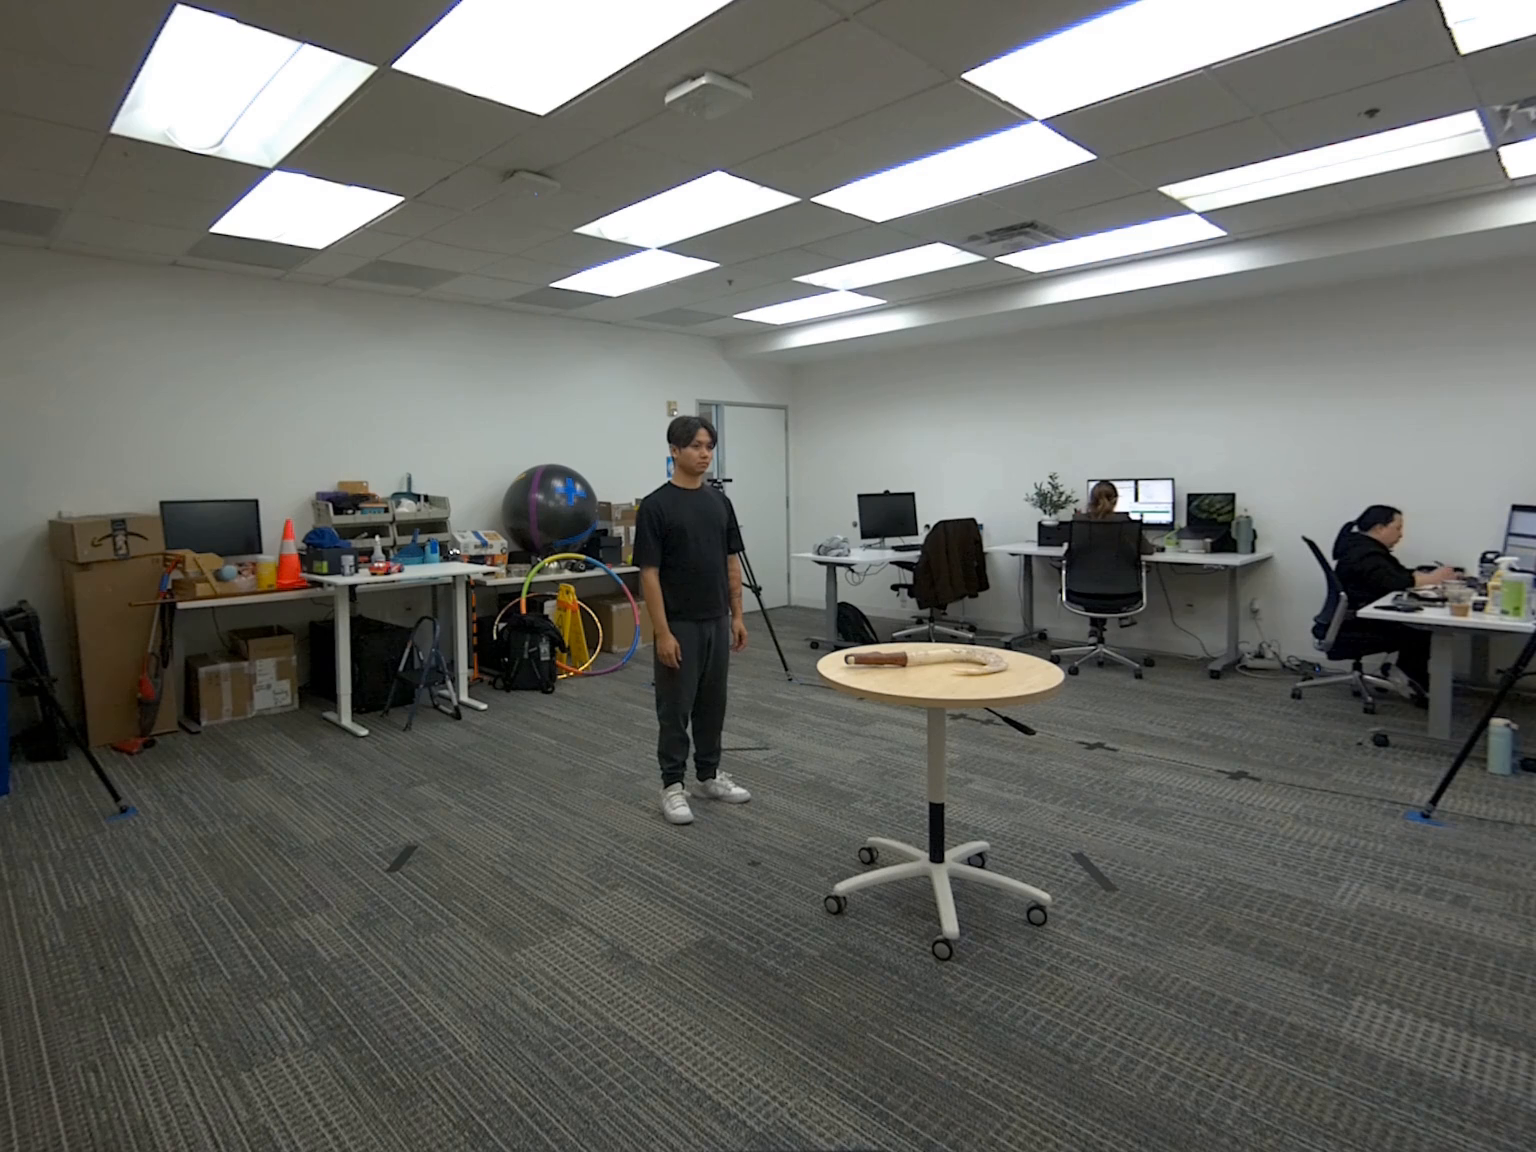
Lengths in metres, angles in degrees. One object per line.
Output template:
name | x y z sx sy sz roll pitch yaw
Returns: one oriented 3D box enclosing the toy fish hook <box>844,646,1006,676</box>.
toy fish hook | 0.512 0.271 2.716 0.505 0.048 0.226 -1 4 -3
